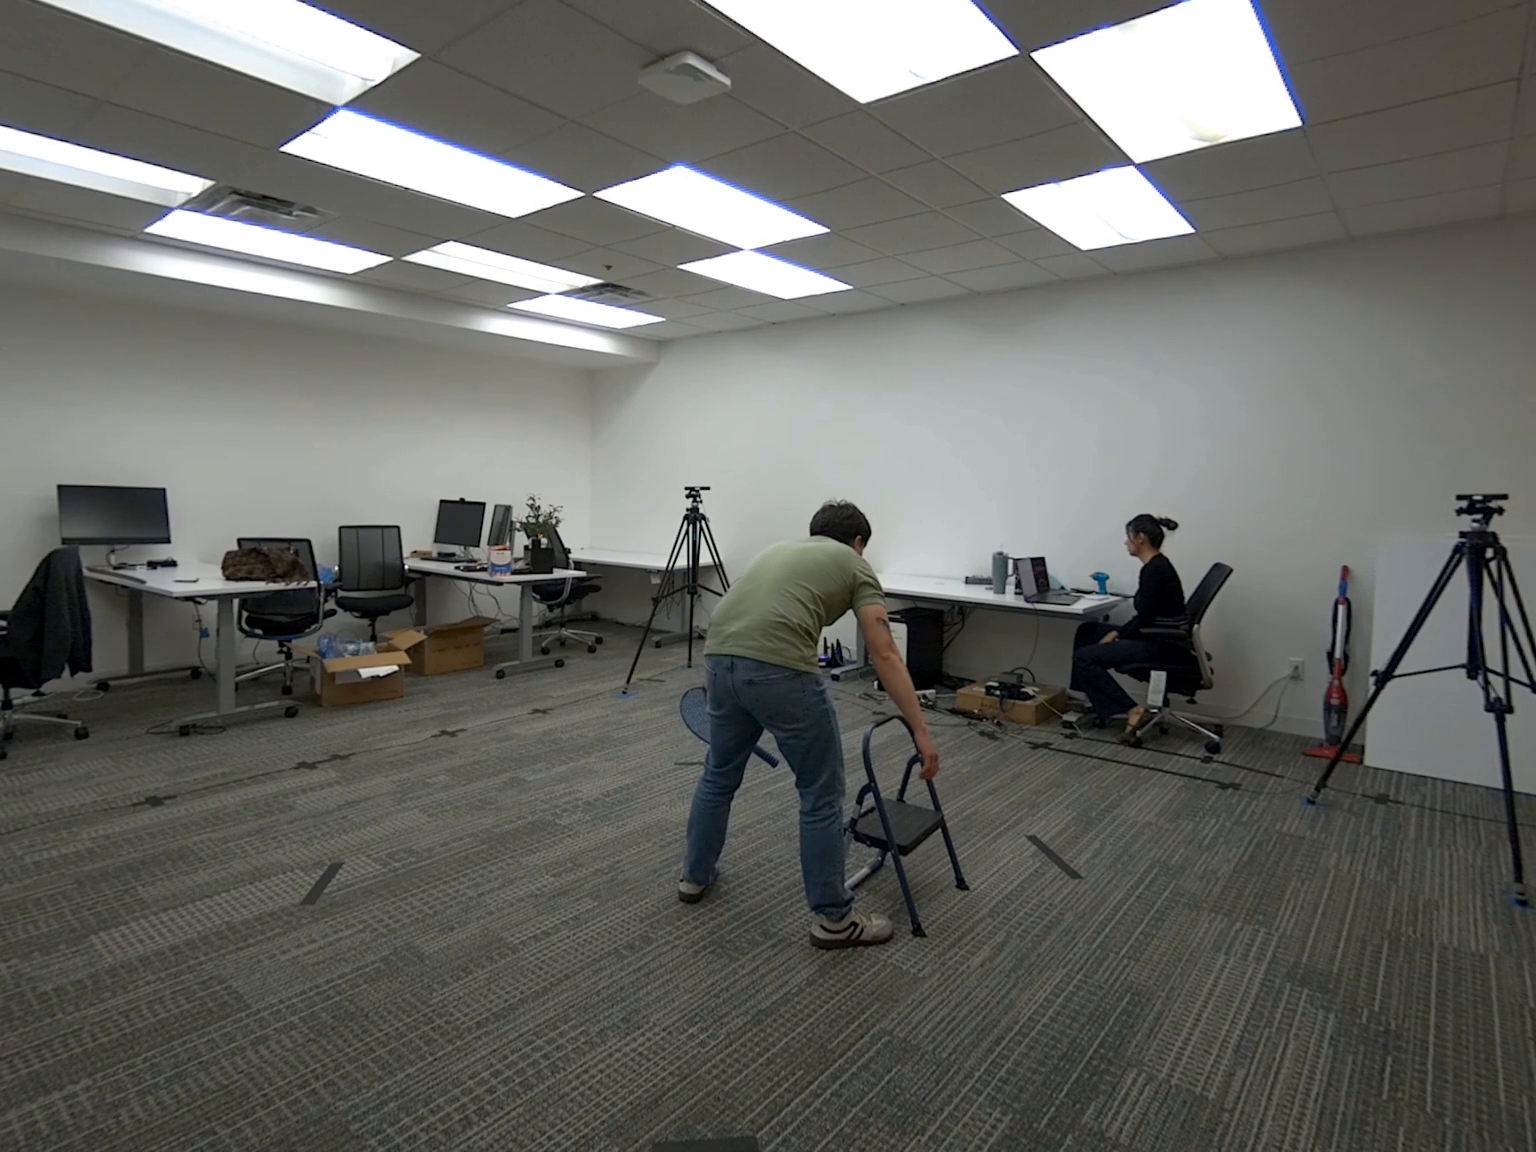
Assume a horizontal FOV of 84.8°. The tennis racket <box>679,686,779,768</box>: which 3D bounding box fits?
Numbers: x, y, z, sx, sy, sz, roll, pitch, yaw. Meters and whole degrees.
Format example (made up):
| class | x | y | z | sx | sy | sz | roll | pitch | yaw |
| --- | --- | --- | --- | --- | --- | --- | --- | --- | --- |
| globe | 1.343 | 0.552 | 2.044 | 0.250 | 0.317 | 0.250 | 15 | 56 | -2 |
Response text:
| class | x | y | z | sx | sy | sz | roll | pitch | yaw |
| --- | --- | --- | --- | --- | --- | --- | --- | --- | --- |
| tennis racket | -0.147 | 0.569 | 3.143 | 0.435 | 0.031 | 0.214 | 36 | 46 | 3 |
